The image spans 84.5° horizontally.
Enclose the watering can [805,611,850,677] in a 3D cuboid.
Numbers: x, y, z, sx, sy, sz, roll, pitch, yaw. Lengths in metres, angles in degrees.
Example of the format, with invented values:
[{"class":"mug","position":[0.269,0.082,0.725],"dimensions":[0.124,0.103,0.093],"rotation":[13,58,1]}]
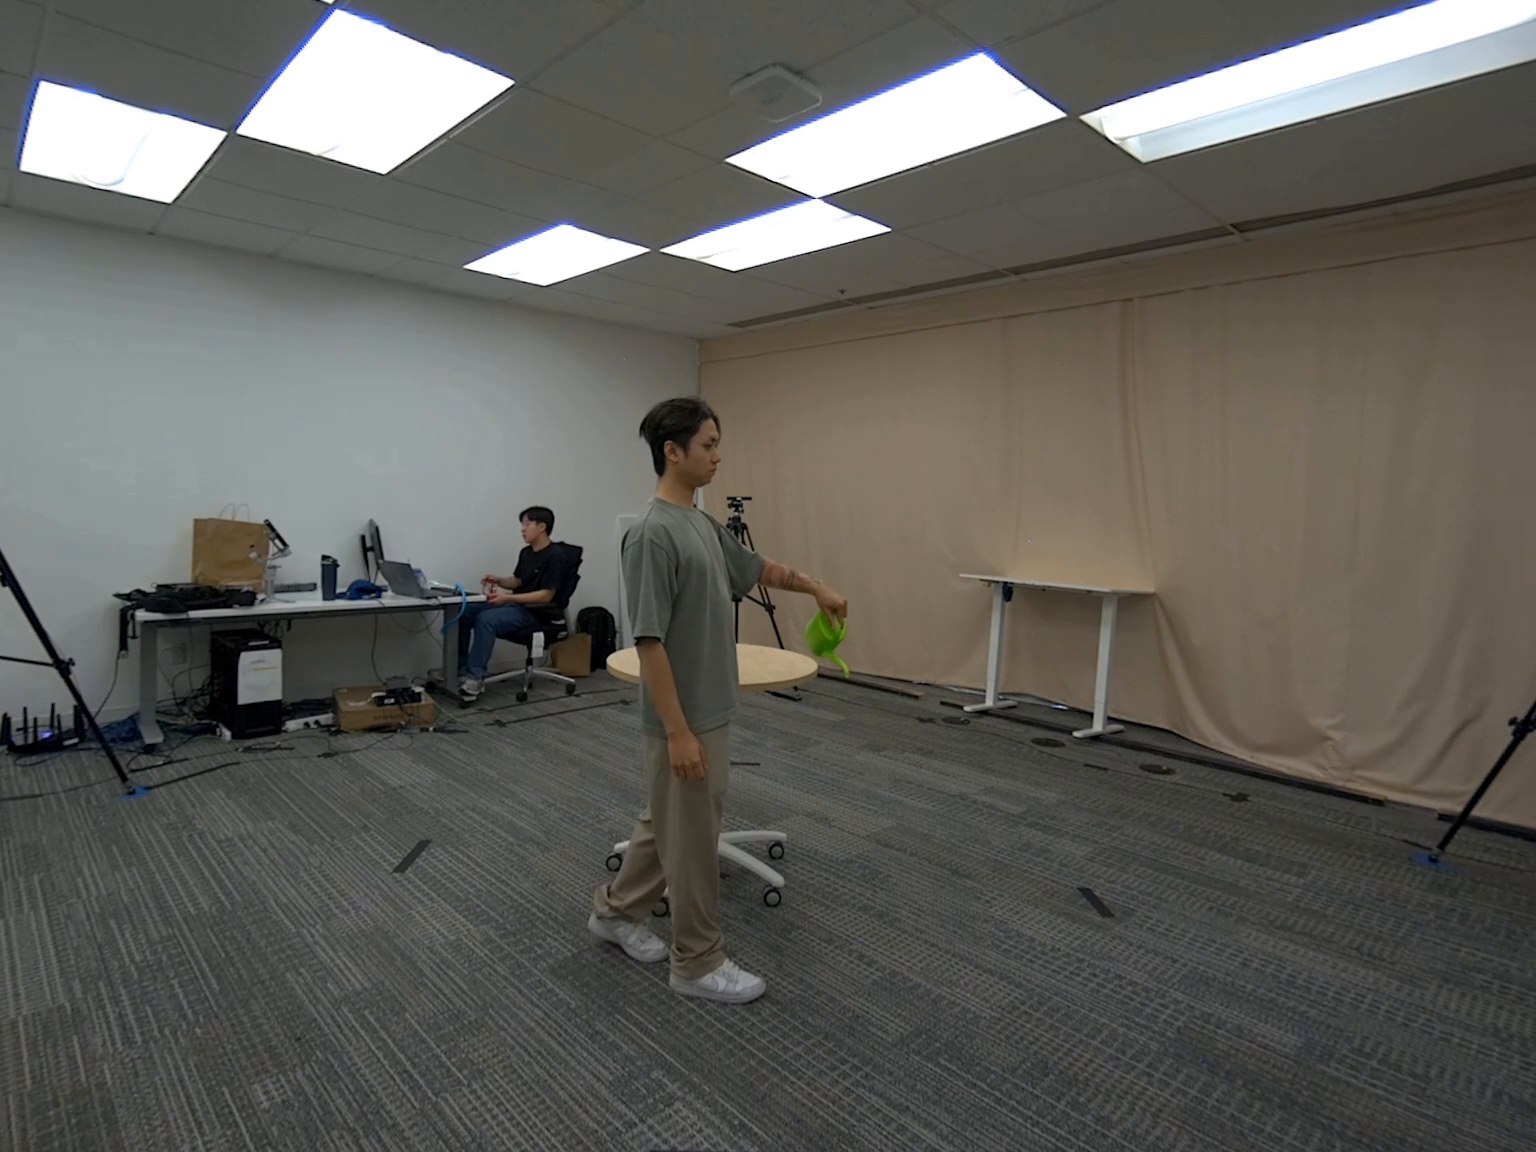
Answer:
[{"class":"watering can","position":[0.182,0.209,2.608],"dimensions":[0.097,0.283,0.175],"rotation":[11,-29,-6]}]
